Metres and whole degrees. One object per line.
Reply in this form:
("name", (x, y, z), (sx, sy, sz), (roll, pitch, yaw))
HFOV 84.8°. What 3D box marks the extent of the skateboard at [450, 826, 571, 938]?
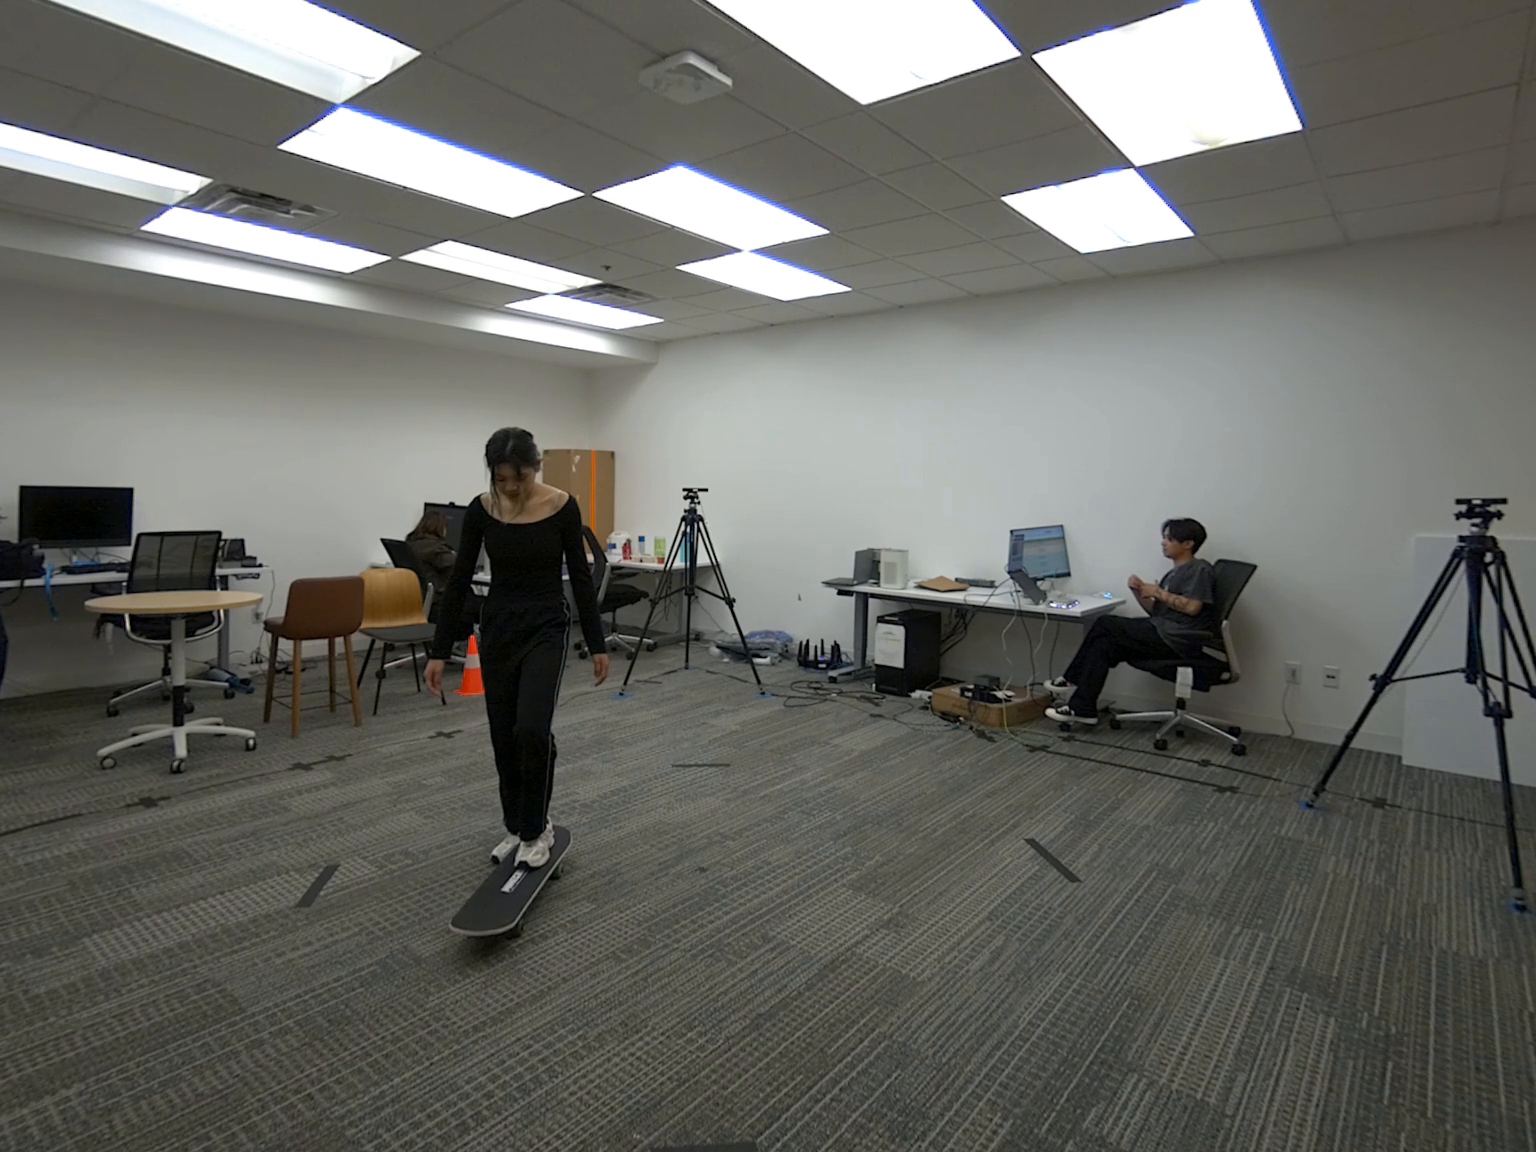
("skateboard", (-0.846, 1.037, 2.827), (0.194, 0.110, 0.783), (1, 5, 4))
